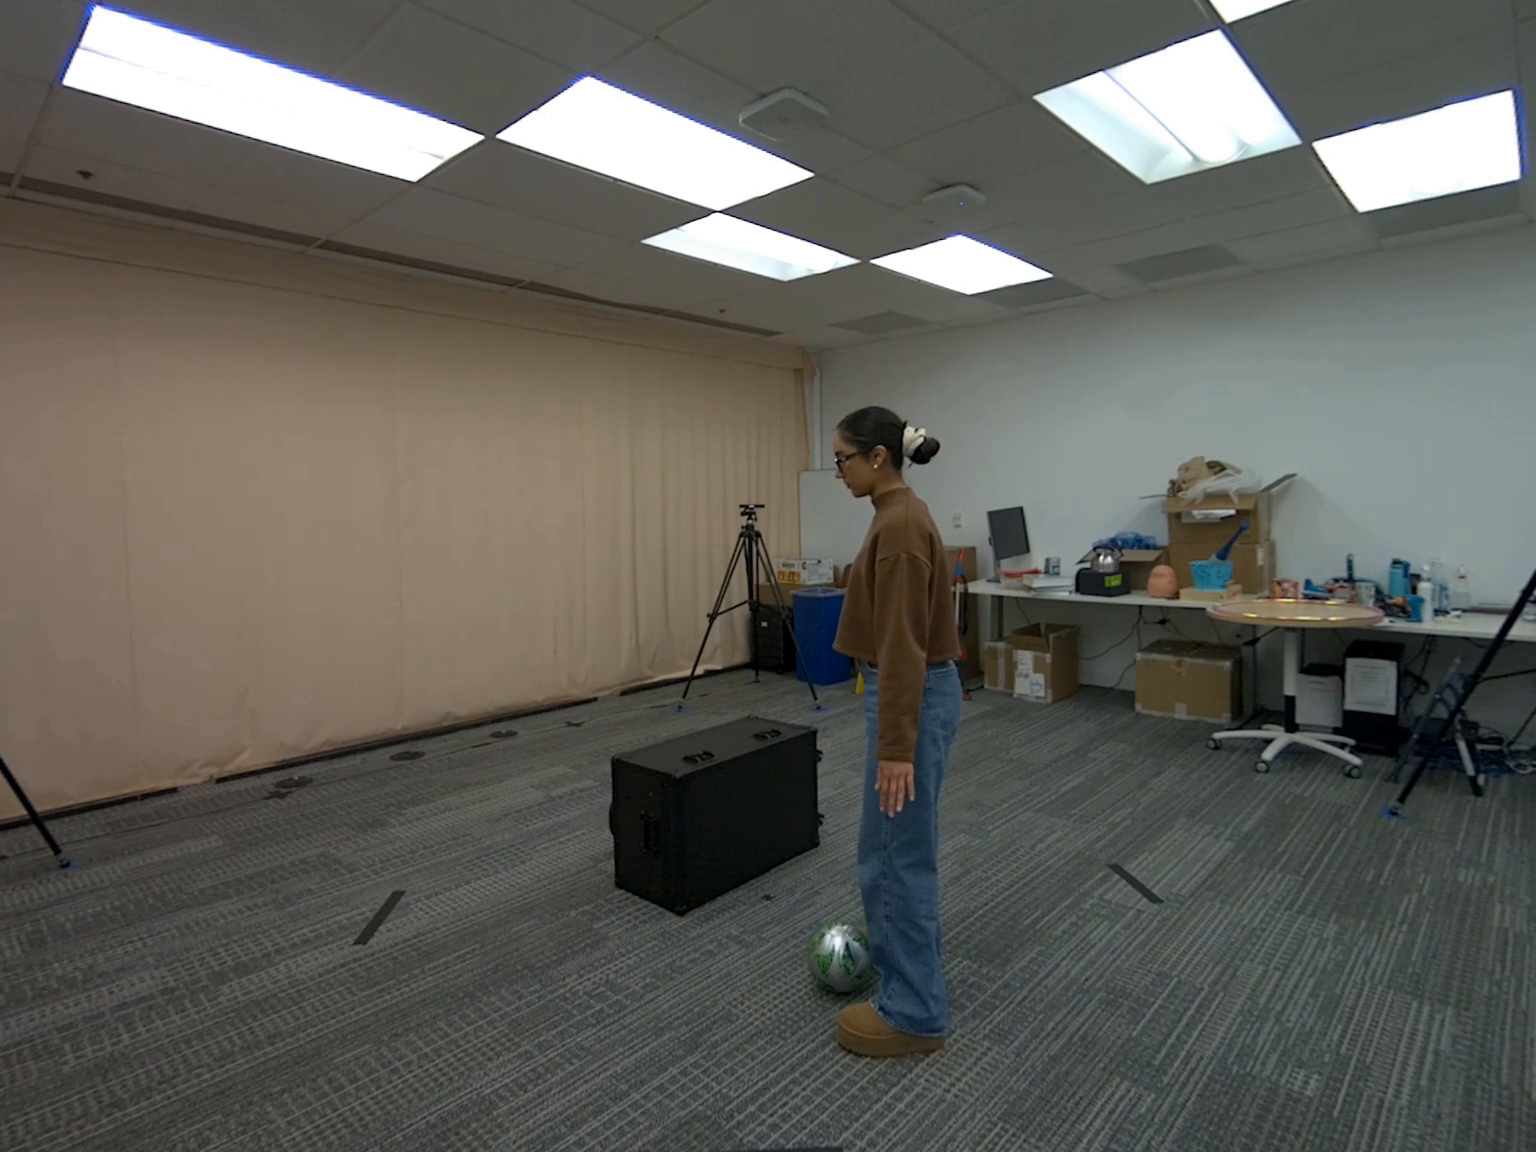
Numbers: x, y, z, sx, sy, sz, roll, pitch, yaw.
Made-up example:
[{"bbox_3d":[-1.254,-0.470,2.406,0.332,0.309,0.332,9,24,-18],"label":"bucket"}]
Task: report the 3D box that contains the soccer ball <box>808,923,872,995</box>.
[{"bbox_3d":[0.204,1.087,2.431,0.187,0.187,0.188,-1,4,-2],"label":"soccer ball"}]
